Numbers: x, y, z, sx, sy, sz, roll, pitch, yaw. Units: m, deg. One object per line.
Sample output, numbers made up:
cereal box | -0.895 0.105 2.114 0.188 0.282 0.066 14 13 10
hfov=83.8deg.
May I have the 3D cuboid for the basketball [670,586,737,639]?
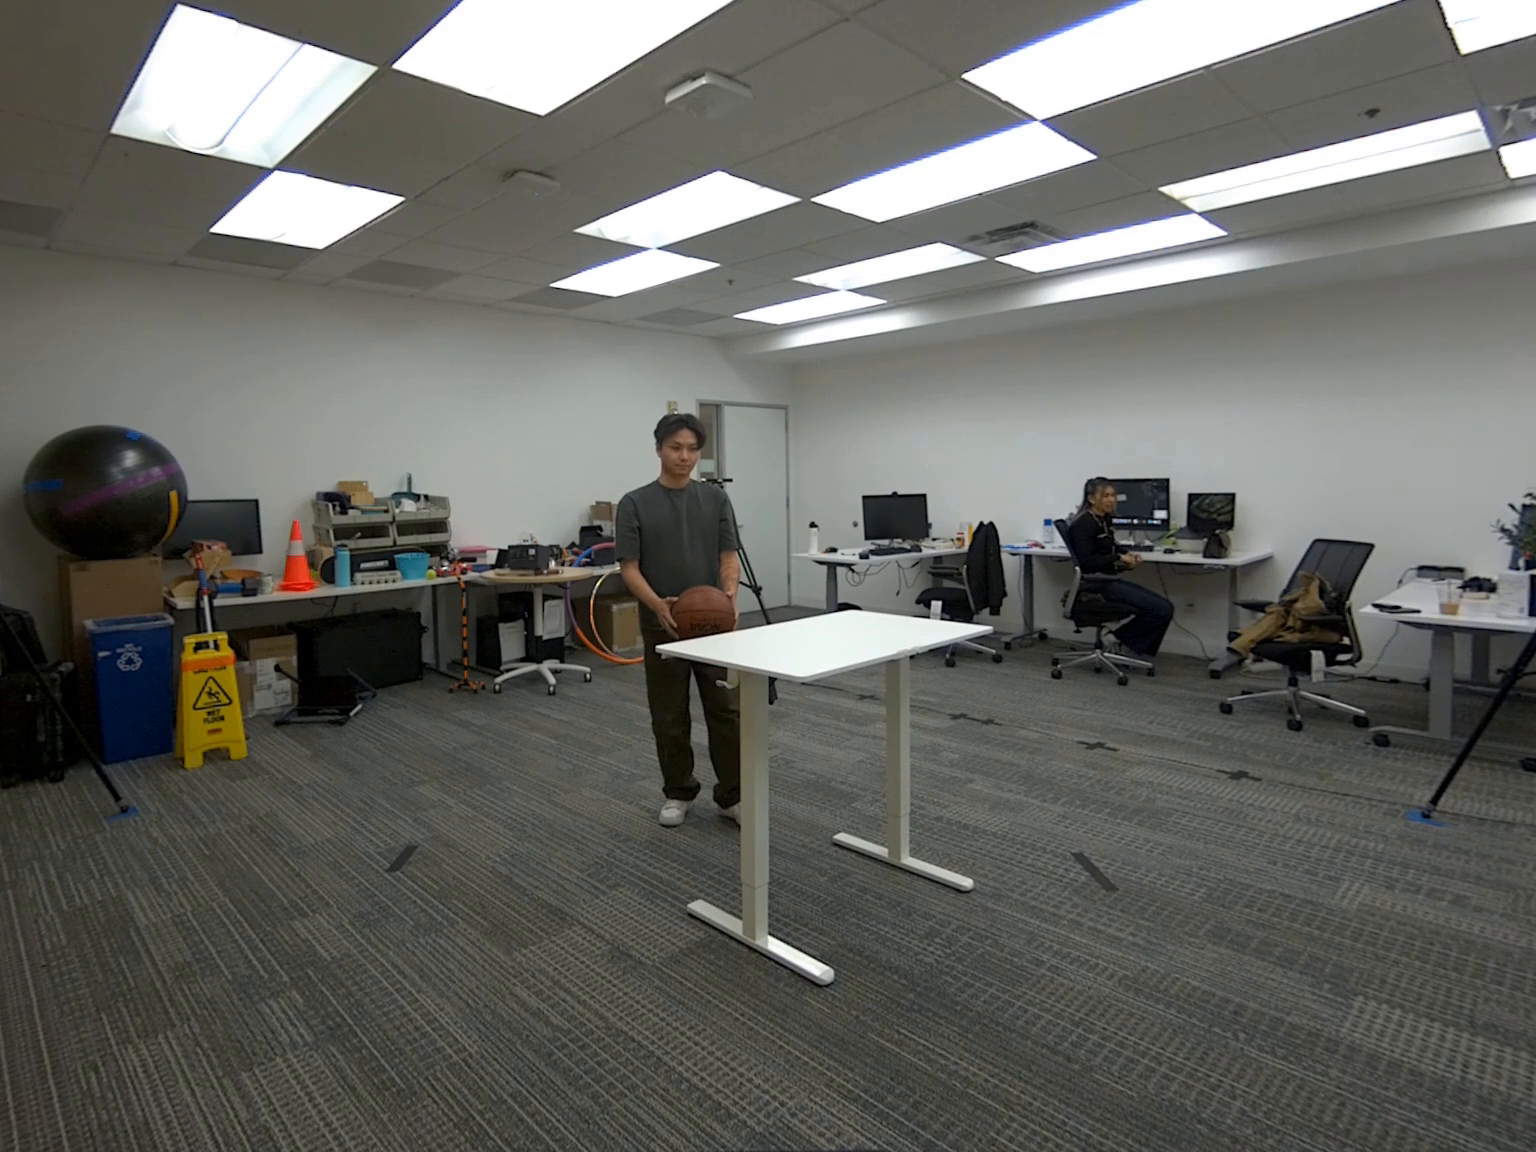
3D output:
basketball | -0.250 0.153 3.207 0.236 0.235 0.237 -1 5 -2
